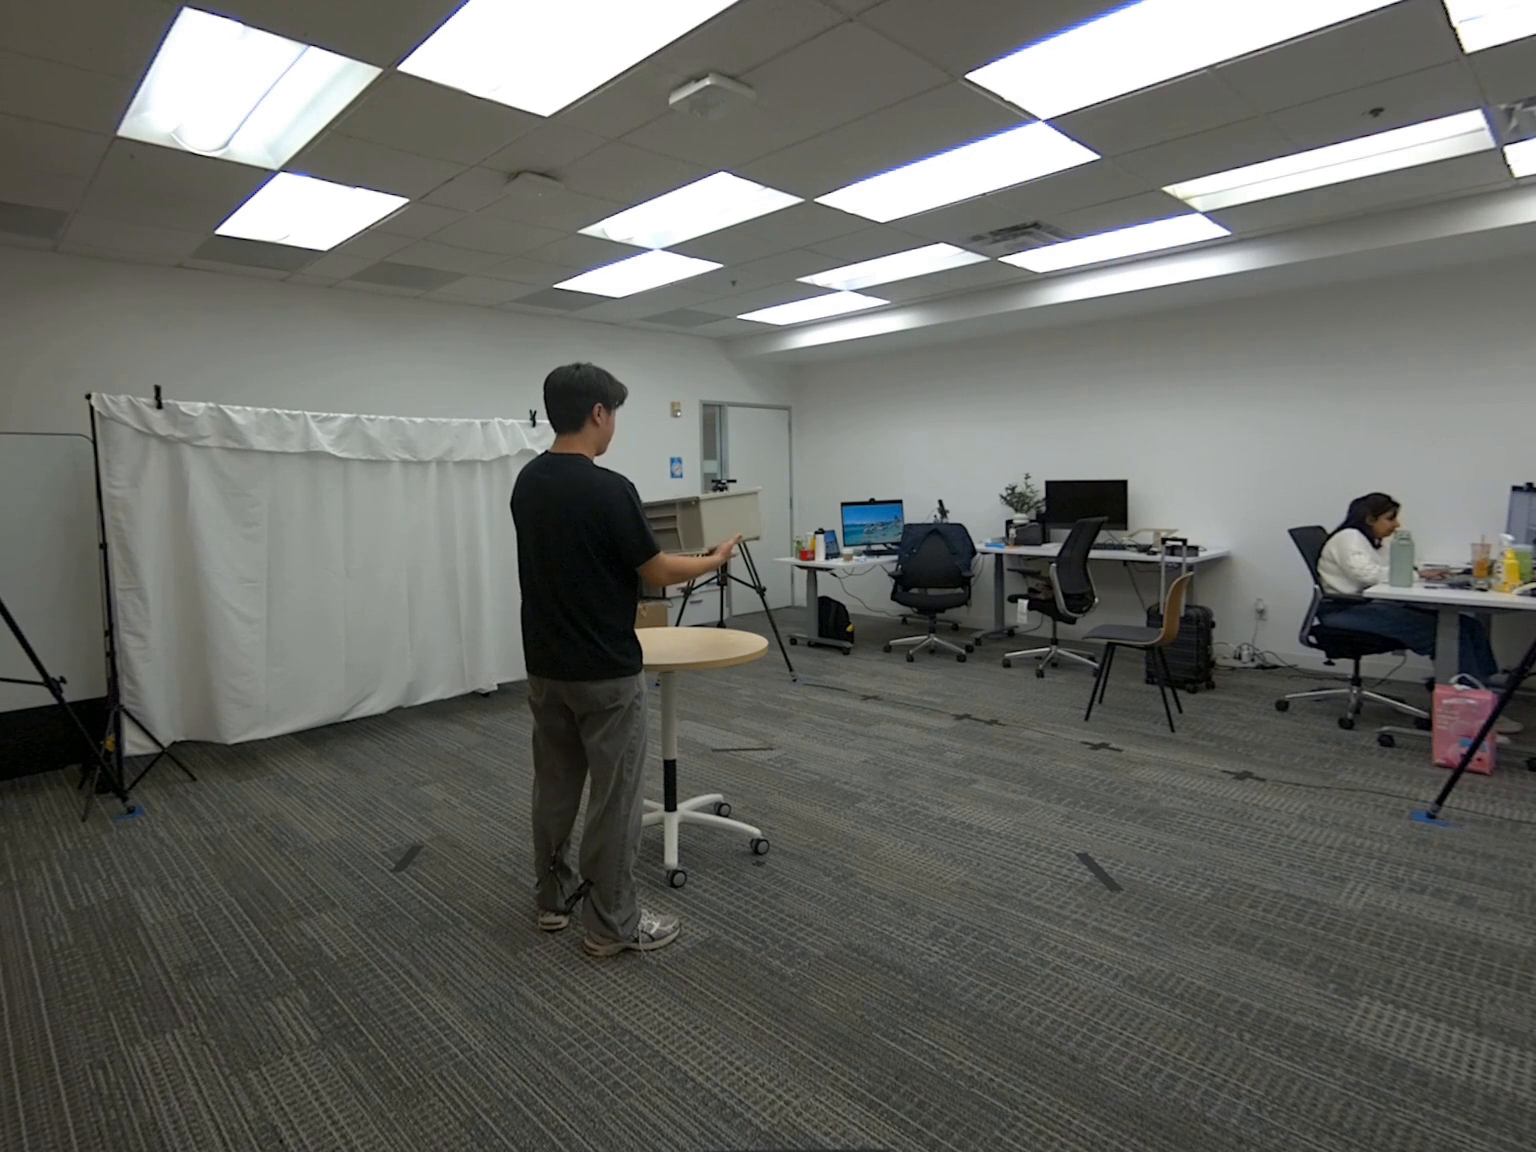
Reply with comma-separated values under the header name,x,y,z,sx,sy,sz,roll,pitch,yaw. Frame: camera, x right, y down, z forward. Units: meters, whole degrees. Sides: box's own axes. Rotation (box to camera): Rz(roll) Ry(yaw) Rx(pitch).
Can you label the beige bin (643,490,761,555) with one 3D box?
name,x,y,z,sx,sy,sz,roll,pitch,yaw
beige bin,-0.264,-0.168,2.868,0.386,0.188,0.414,-3,6,29
